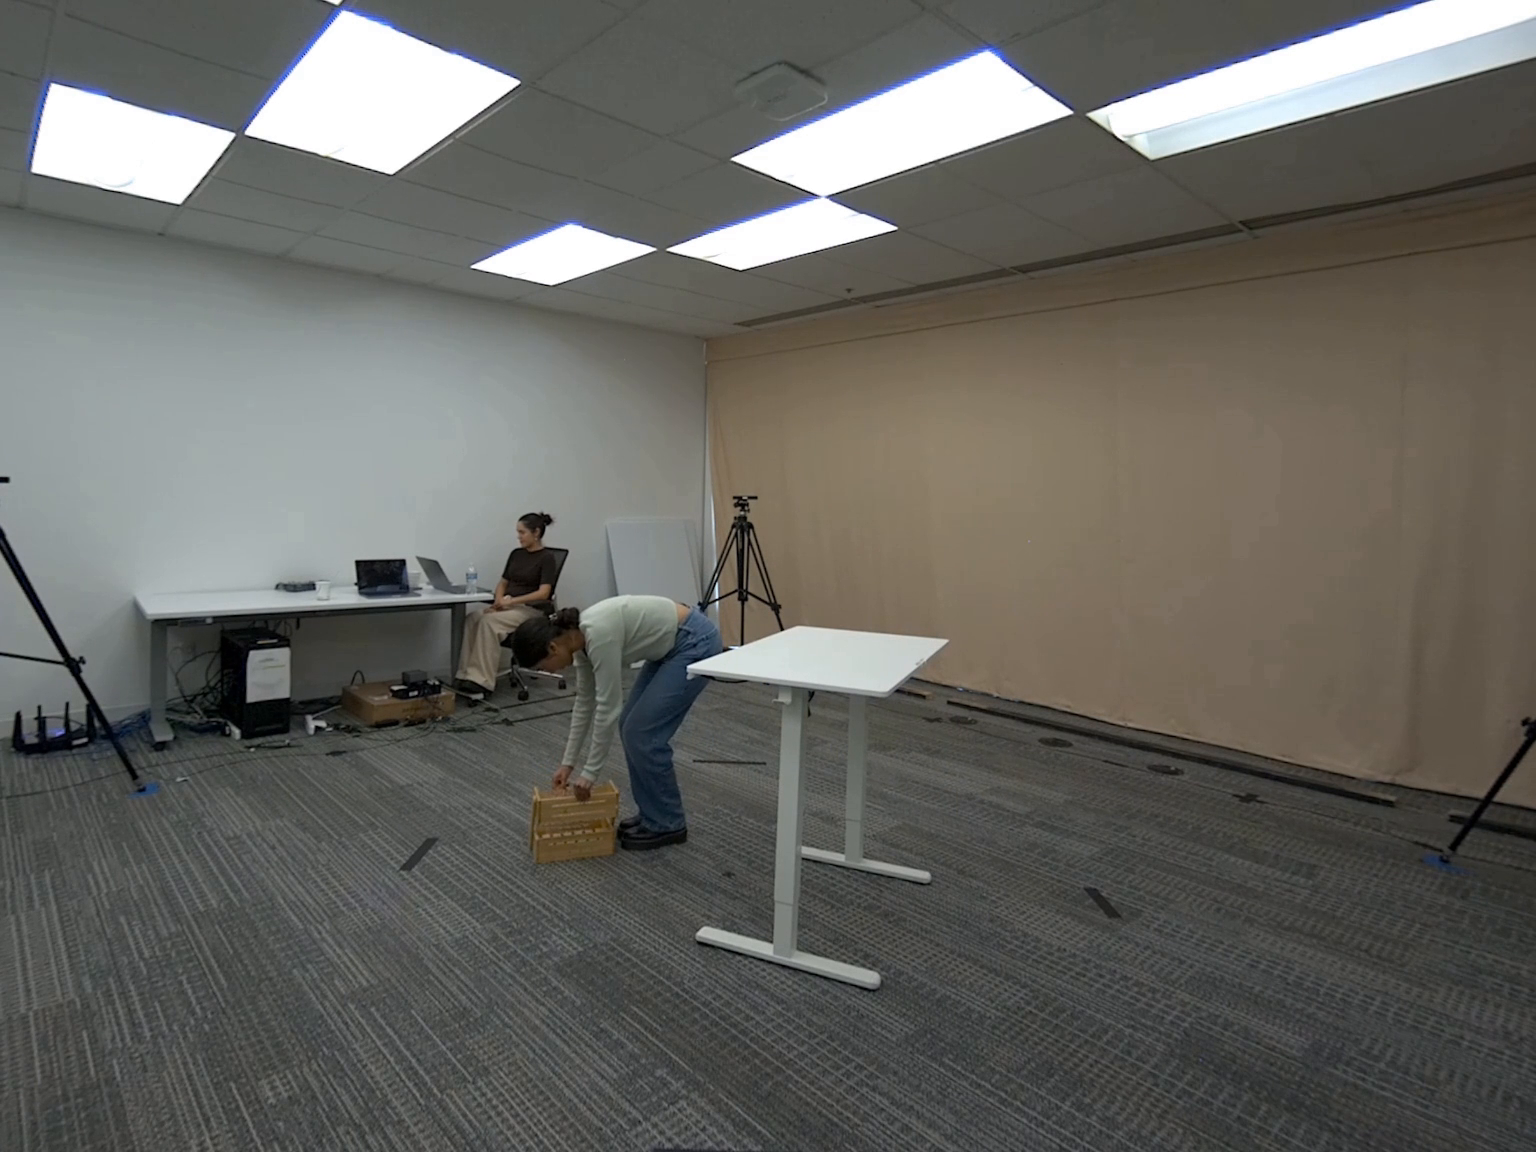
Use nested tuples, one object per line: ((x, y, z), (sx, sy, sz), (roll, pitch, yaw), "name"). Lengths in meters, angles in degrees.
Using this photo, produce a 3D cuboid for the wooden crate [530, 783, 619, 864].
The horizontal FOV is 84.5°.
((-0.772, 0.934, 3.294), (0.319, 0.272, 0.308), (0, 5, -21), "wooden crate")
